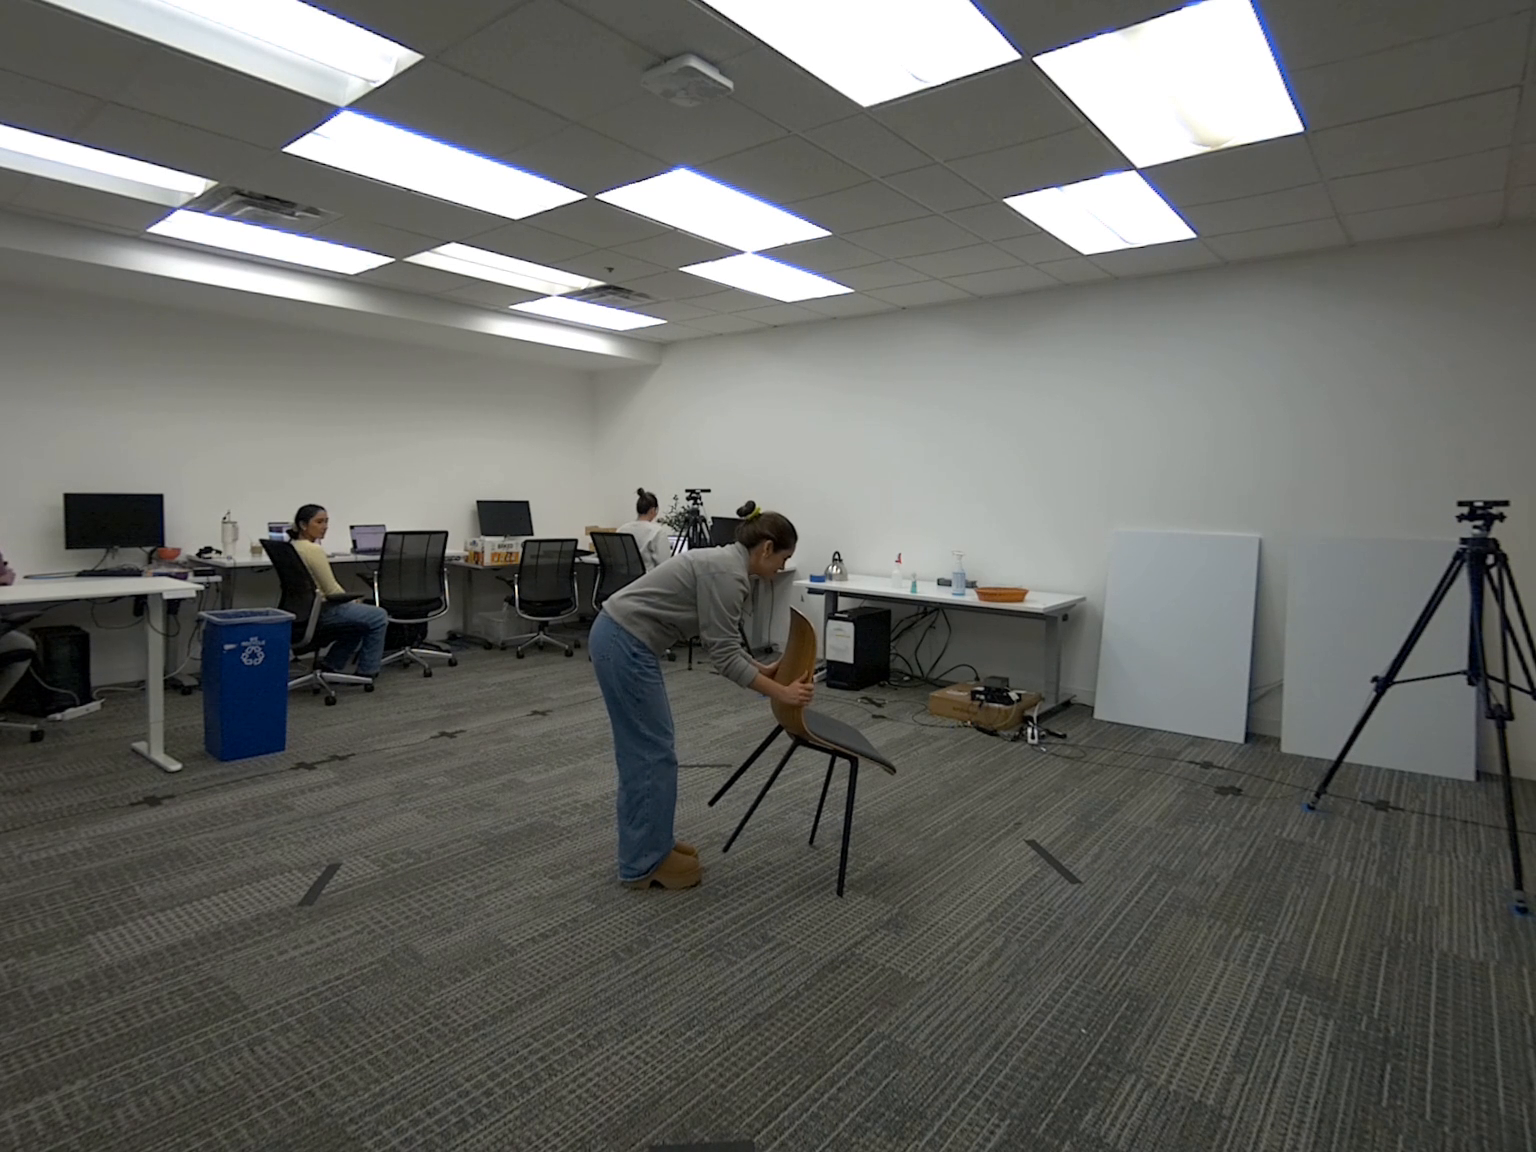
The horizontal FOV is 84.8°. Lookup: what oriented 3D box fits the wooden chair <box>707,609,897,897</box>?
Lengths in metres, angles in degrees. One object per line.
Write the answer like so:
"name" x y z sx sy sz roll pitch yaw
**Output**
"wooden chair" 0.182 0.609 3.107 0.517 0.877 0.484 19 1 -9
